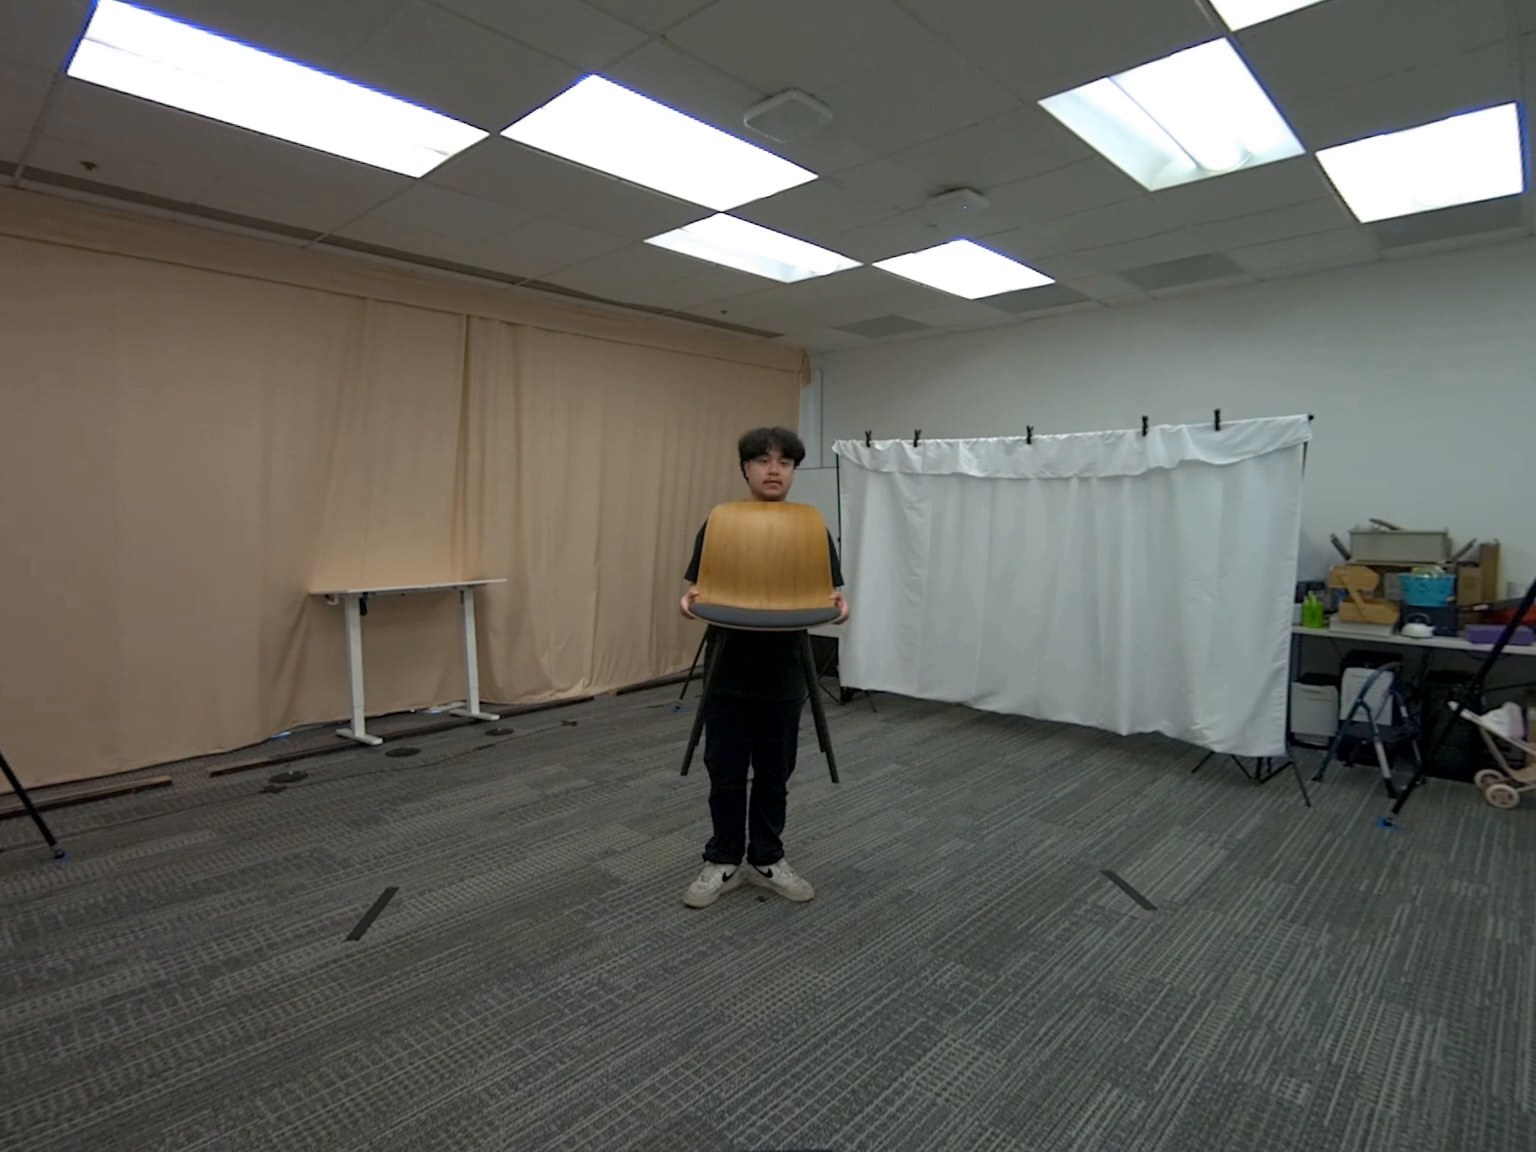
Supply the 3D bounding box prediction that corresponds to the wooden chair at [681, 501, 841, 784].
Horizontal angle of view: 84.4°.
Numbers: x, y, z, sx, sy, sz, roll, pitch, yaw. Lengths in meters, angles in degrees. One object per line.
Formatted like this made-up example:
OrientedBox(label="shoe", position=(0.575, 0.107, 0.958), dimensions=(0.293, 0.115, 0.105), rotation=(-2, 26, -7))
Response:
OrientedBox(label="wooden chair", position=(0.002, 0.163, 2.634), dimensions=(0.479, 0.880, 0.521), rotation=(3, -6, 0))
